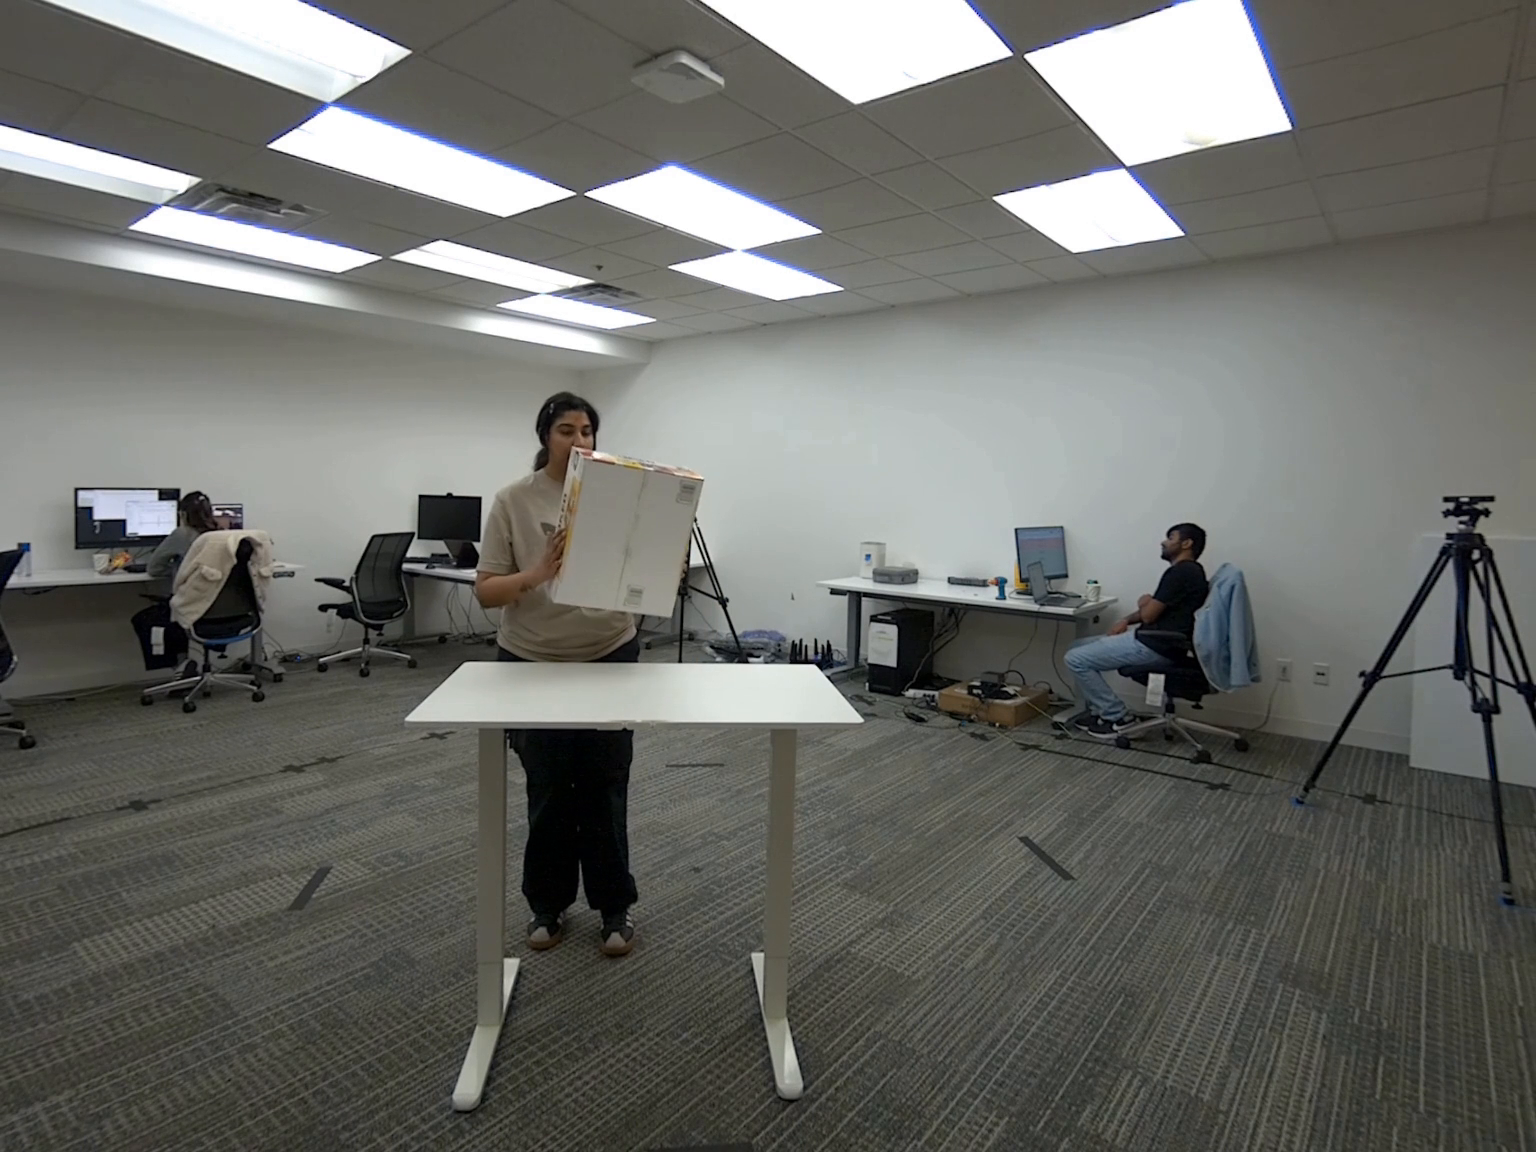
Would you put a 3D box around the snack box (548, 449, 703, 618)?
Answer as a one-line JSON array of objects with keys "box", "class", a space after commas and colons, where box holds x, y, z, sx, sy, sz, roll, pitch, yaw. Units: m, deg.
[{"box": [-0.416, -0.124, 2.388, 0.332, 0.402, 0.212, 9, 11, -21], "class": "snack box"}]
